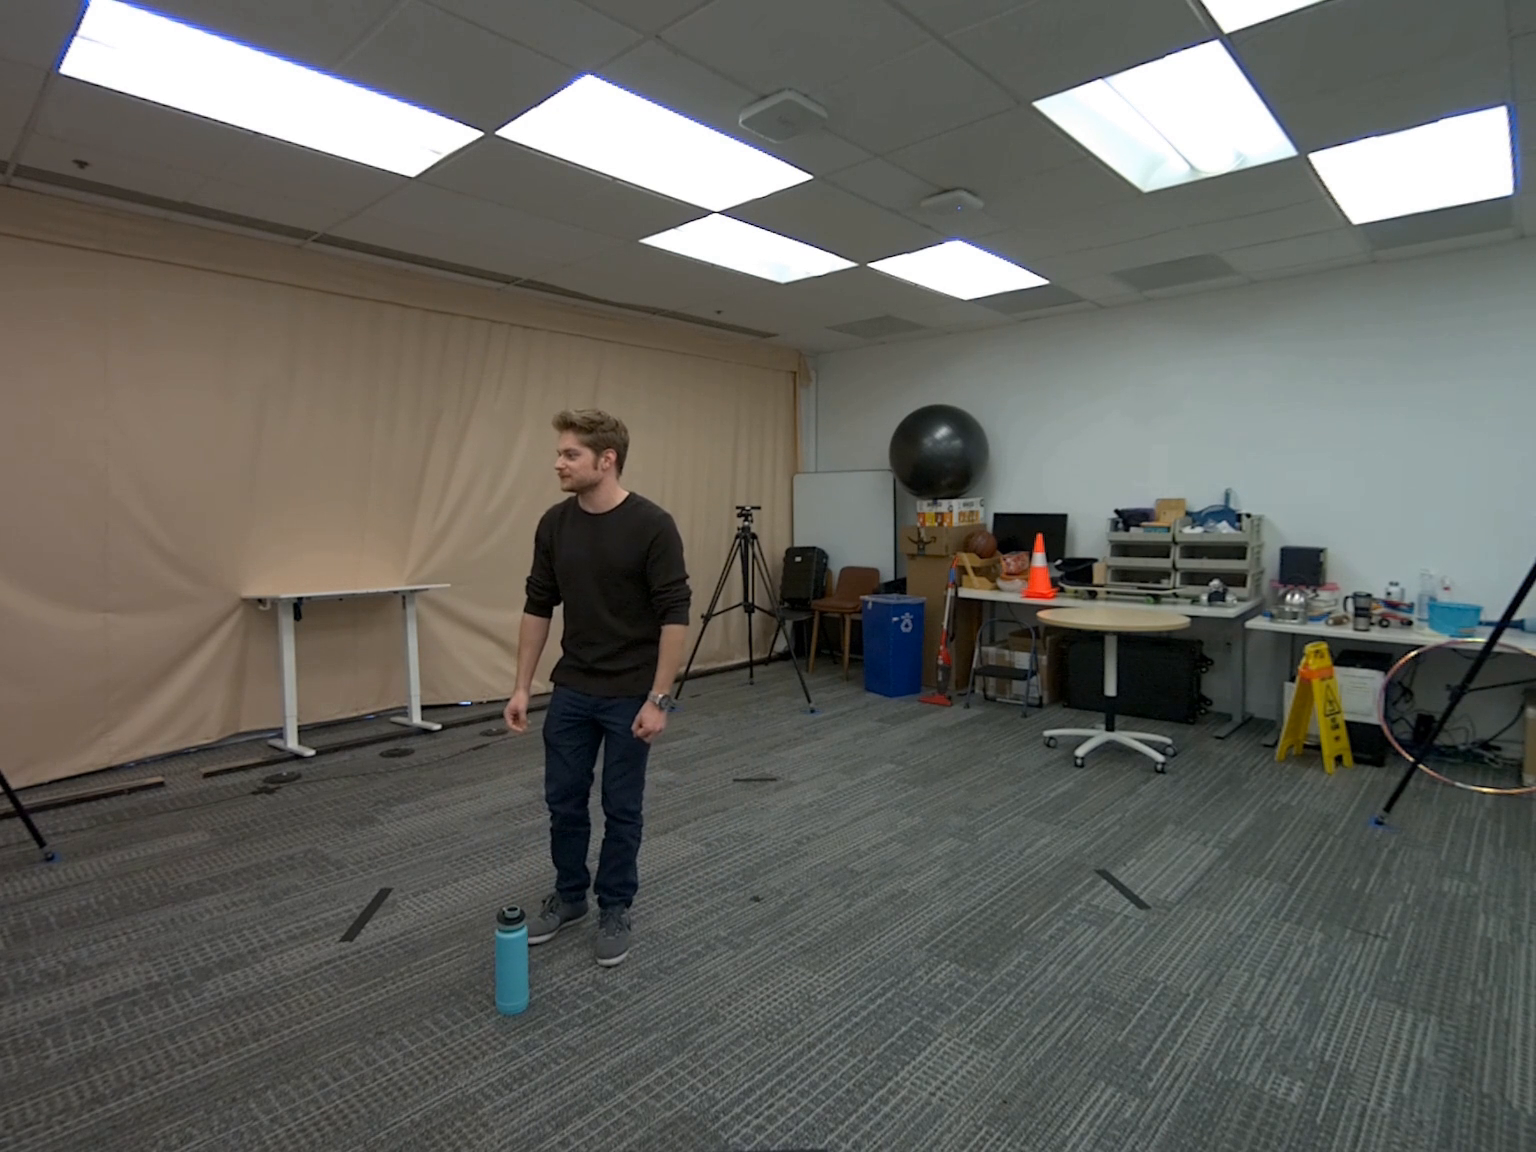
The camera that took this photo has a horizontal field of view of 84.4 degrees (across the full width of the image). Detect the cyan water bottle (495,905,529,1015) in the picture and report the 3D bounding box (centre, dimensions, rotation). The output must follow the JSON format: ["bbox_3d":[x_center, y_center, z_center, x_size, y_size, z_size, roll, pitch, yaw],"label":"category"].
[{"bbox_3d":[-0.714,1.057,2.345,0.092,0.283,0.092,0,2,-2],"label":"cyan water bottle"}]
